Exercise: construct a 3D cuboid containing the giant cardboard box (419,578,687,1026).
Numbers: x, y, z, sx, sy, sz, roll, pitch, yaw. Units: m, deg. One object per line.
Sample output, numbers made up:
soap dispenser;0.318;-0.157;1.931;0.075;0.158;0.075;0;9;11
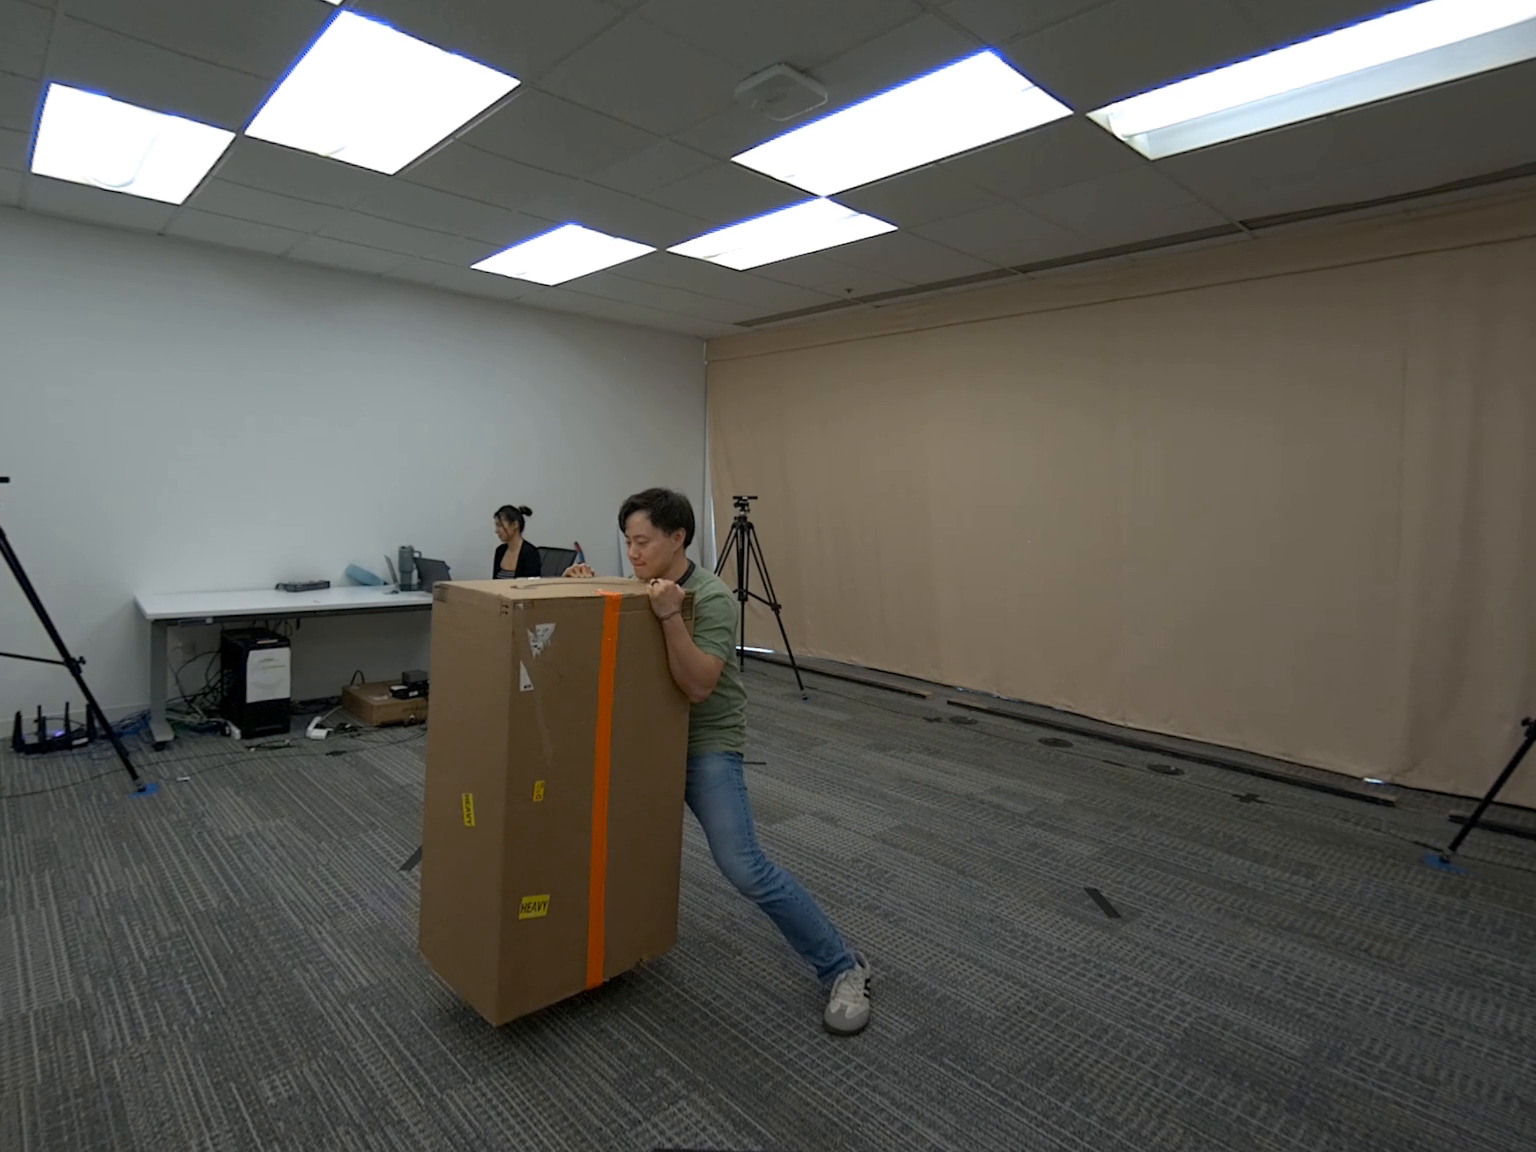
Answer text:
giant cardboard box;-0.584;0.545;2.304;0.437;1.024;0.564;6;4;44
